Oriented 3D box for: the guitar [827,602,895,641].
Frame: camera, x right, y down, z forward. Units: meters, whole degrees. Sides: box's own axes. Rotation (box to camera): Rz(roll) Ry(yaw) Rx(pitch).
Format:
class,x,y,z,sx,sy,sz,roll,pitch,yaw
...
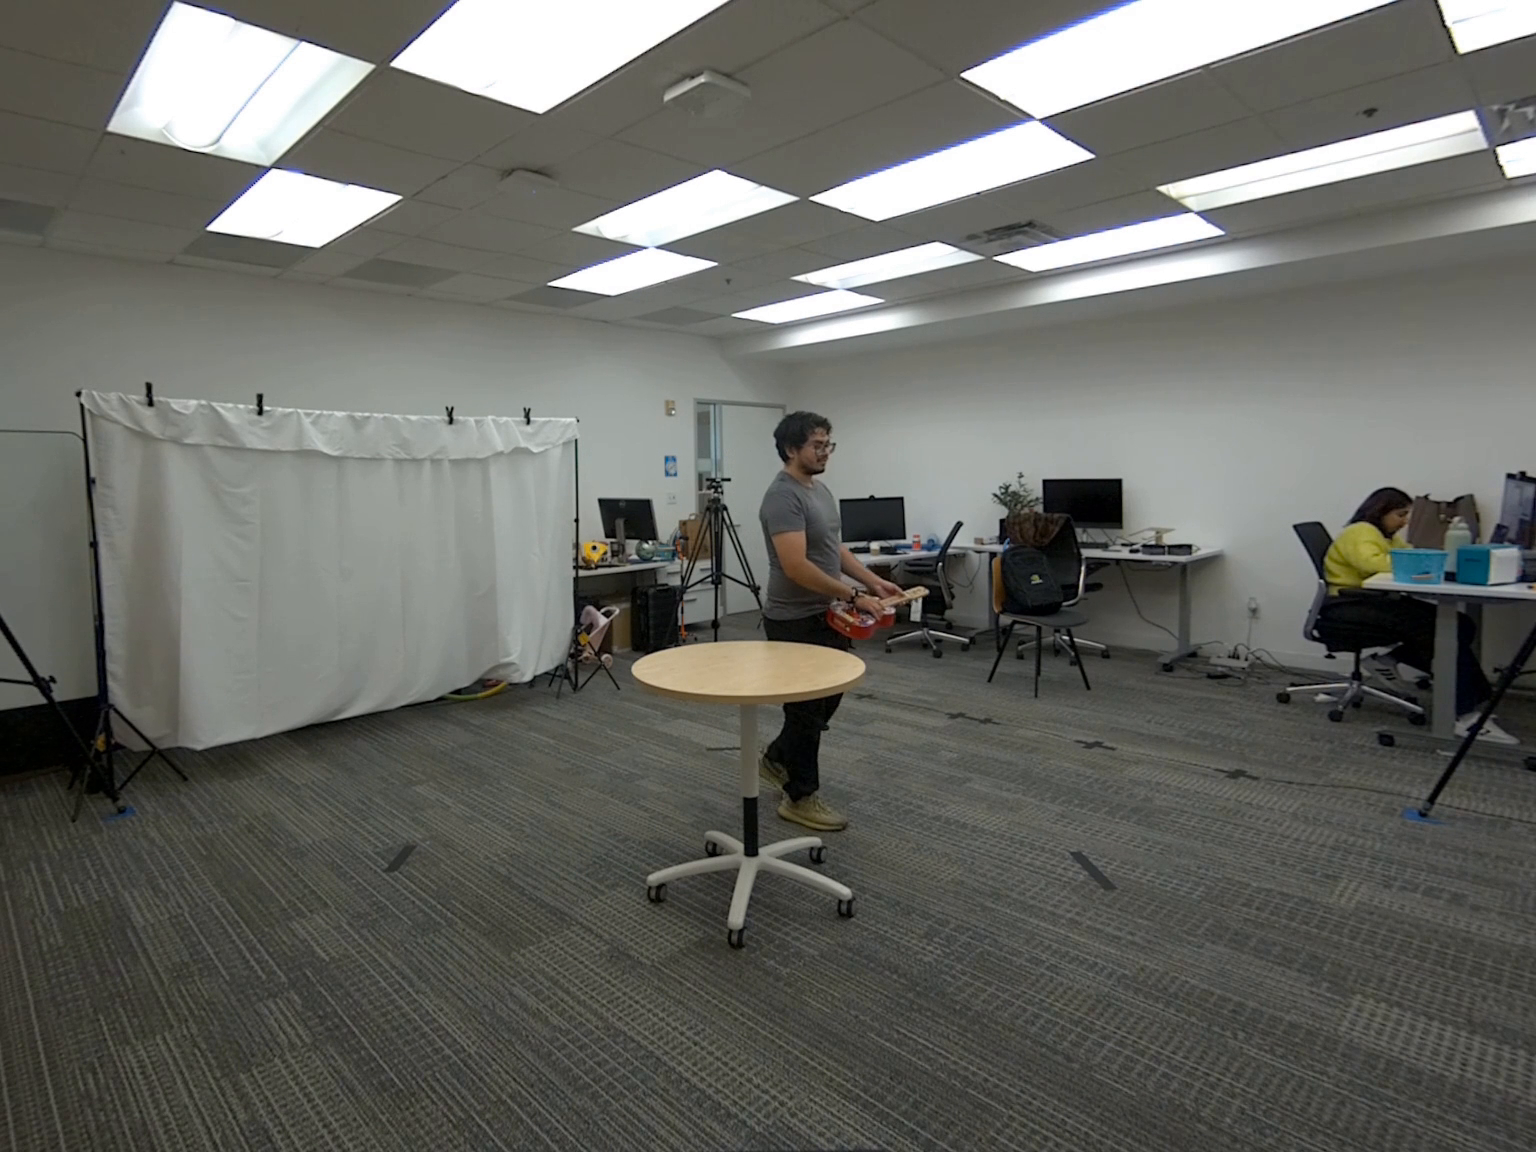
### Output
class,x,y,z,sx,sy,sz,roll,pitch,yaw
guitar,0.469,0.142,3.350,0.487,0.069,0.200,-9,30,-28
